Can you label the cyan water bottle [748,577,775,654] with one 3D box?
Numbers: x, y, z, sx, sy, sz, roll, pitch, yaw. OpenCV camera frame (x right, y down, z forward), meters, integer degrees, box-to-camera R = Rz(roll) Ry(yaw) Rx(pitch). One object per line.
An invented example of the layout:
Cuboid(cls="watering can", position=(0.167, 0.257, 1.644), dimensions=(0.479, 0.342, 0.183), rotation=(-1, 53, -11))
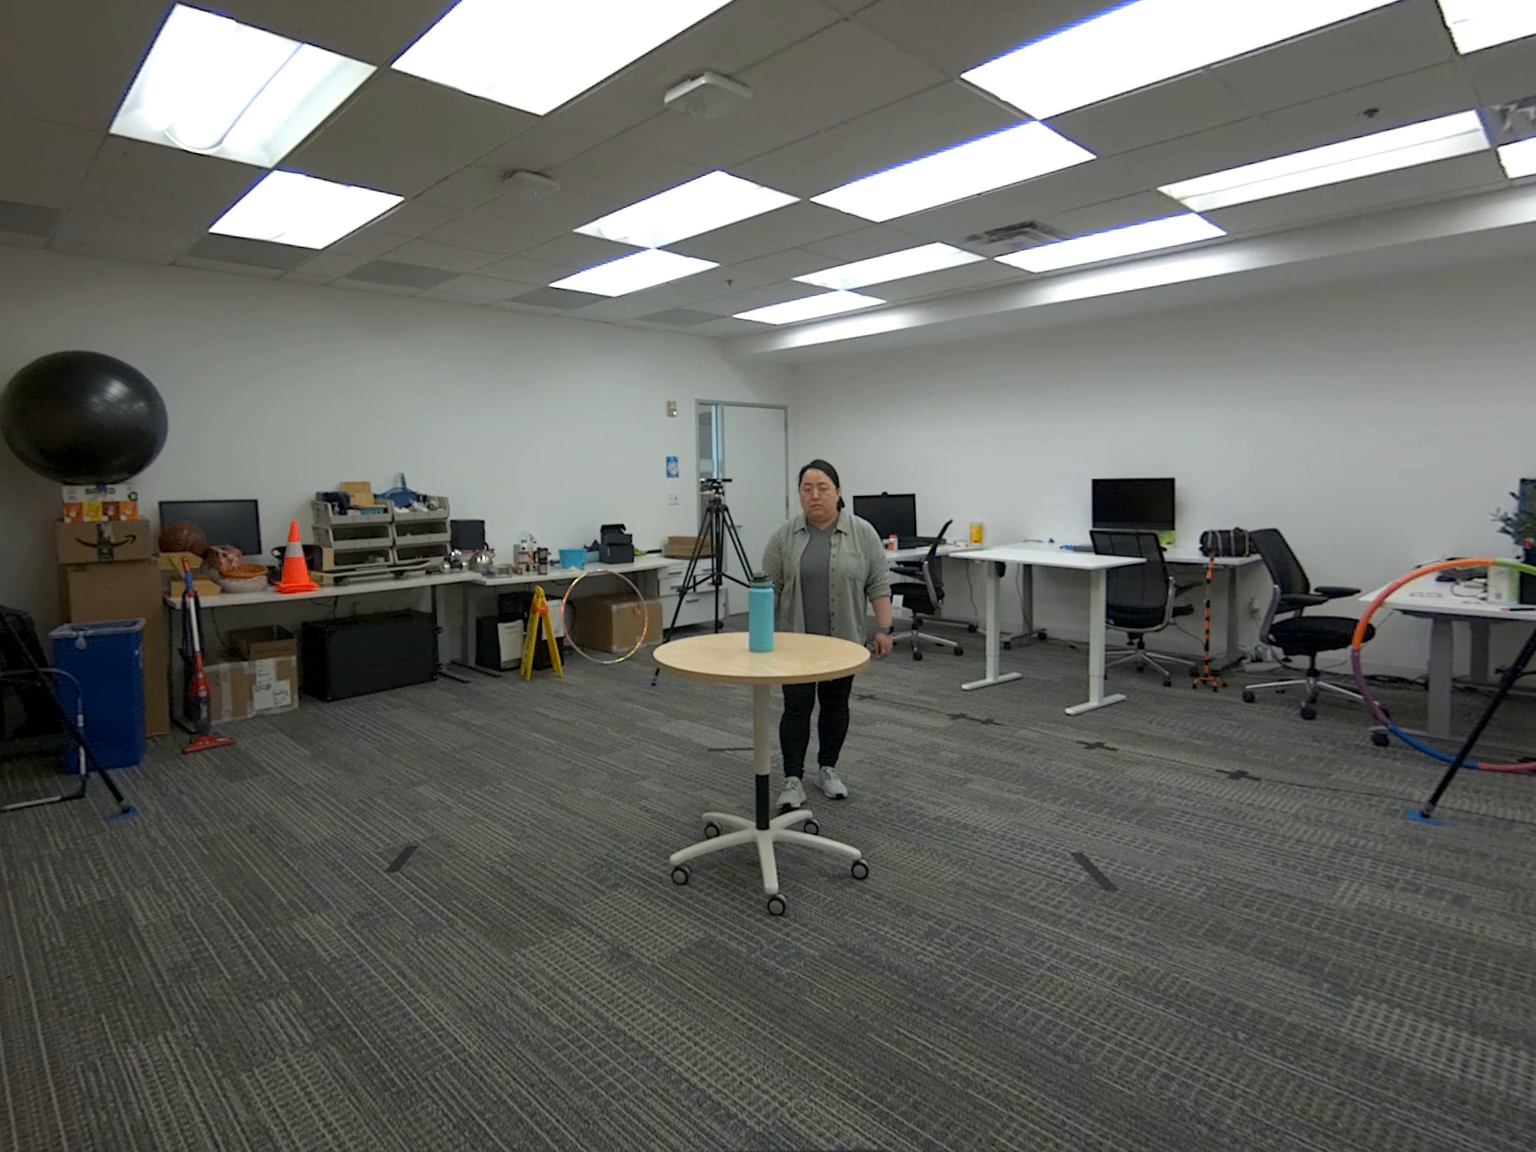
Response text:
Cuboid(cls="cyan water bottle", position=(-0.019, 0.129, 3.053), dimensions=(0.092, 0.283, 0.092), rotation=(0, 0, -2))
